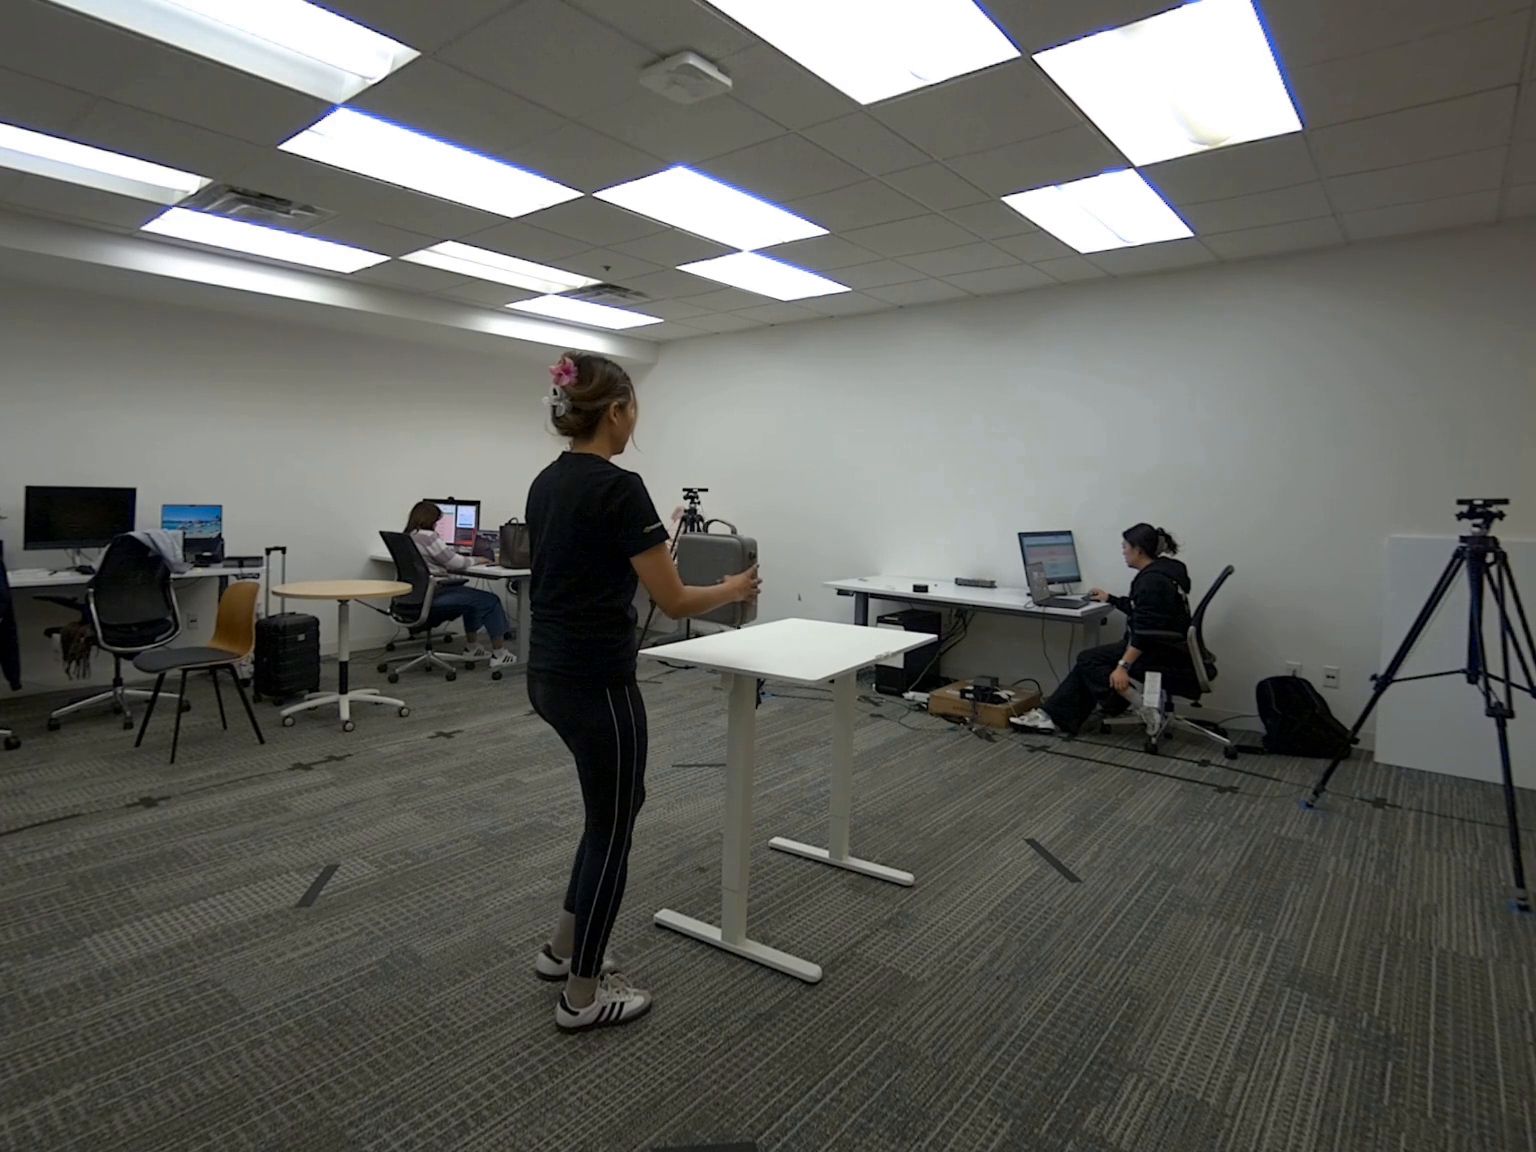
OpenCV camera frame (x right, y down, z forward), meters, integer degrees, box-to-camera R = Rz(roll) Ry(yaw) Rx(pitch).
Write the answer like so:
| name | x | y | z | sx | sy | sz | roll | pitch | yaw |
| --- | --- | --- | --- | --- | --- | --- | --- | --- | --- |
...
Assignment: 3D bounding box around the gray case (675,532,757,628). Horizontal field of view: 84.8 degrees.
| name | x | y | z | sx | sy | sz | roll | pitch | yaw |
| --- | --- | --- | --- | --- | --- | --- | --- | --- | --- |
| gray case | -0.160 | -0.001 | 2.465 | 0.101 | 0.259 | 0.266 | -5 | 8 | -44 |
